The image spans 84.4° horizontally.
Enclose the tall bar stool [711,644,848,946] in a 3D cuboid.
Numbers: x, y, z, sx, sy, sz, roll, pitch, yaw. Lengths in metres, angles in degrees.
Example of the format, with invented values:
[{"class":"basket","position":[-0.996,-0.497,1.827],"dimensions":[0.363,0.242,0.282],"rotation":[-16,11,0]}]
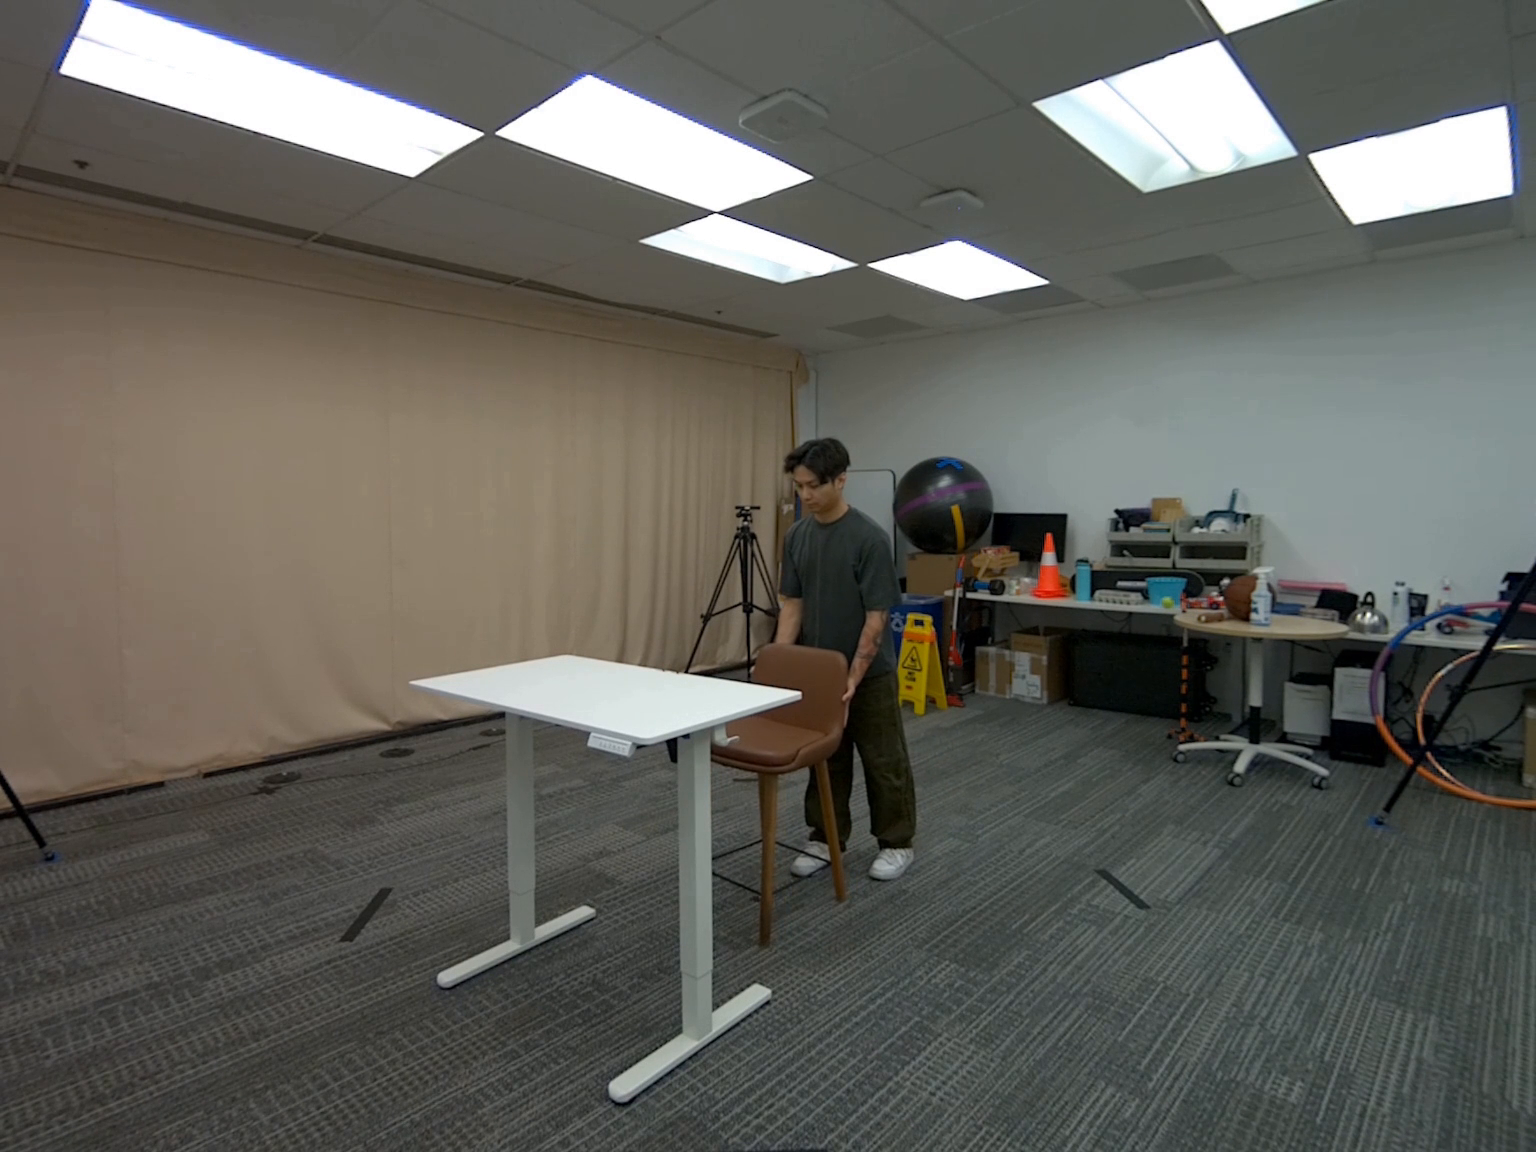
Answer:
[{"class":"tall bar stool","position":[-0.003,0.714,2.927],"dimensions":[0.472,0.889,0.453],"rotation":[3,3,44]}]
